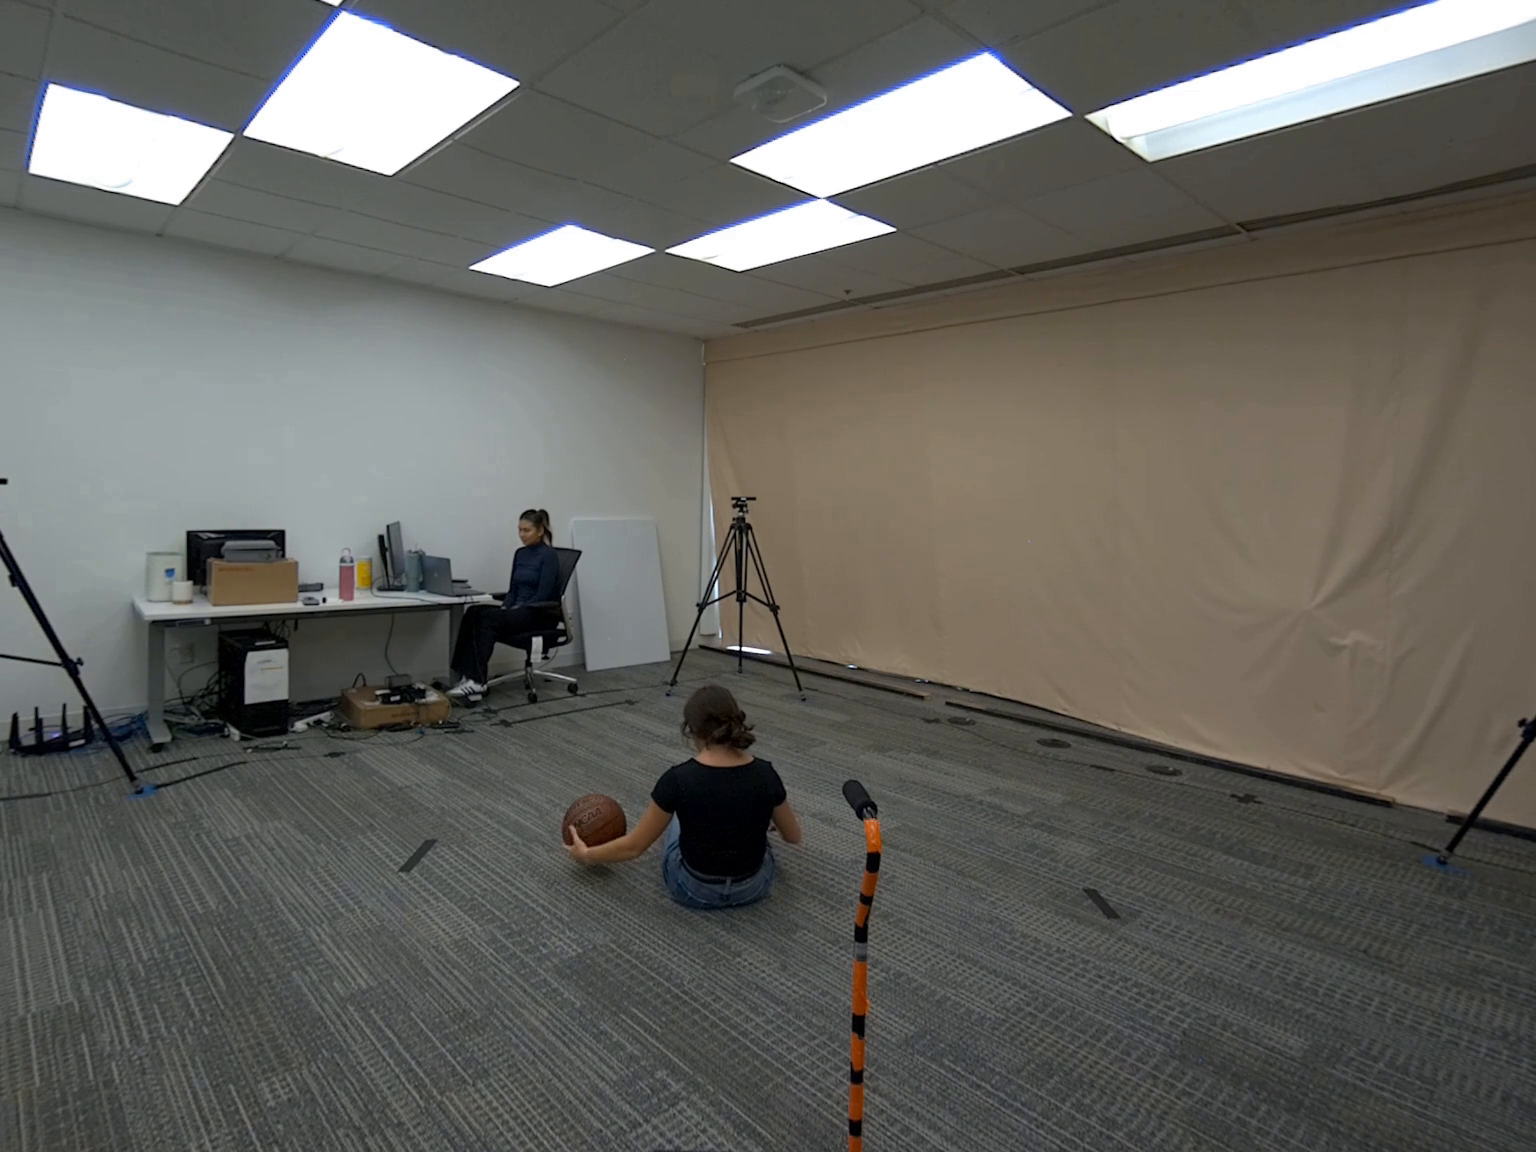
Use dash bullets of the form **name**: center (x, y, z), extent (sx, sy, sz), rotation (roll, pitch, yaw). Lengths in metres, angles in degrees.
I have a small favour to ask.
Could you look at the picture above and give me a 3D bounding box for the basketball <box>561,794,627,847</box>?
- **basketball**: center (-0.647, 0.933, 3.128), extent (0.236, 0.235, 0.237), rotation (1, 4, -1)
